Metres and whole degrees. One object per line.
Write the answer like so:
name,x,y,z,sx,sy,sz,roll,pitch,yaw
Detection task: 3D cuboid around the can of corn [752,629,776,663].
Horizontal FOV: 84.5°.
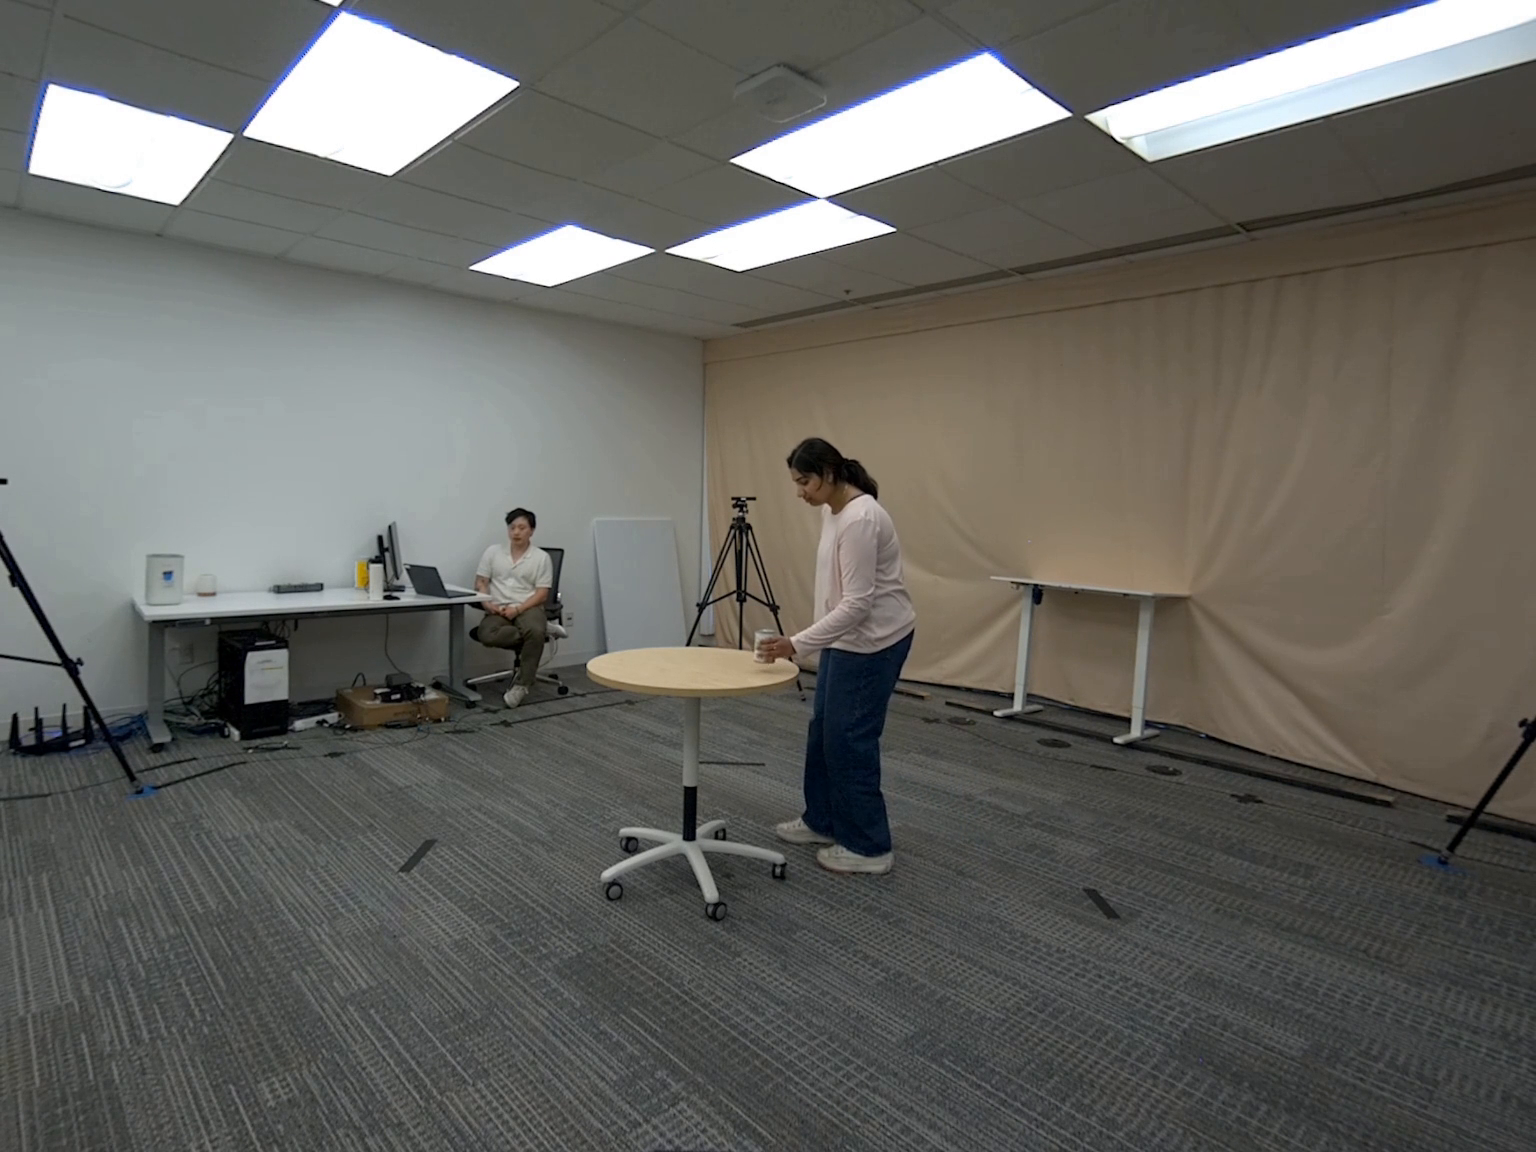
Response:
can of corn,-0.005,0.251,2.978,0.074,0.111,0.074,2,0,-1
